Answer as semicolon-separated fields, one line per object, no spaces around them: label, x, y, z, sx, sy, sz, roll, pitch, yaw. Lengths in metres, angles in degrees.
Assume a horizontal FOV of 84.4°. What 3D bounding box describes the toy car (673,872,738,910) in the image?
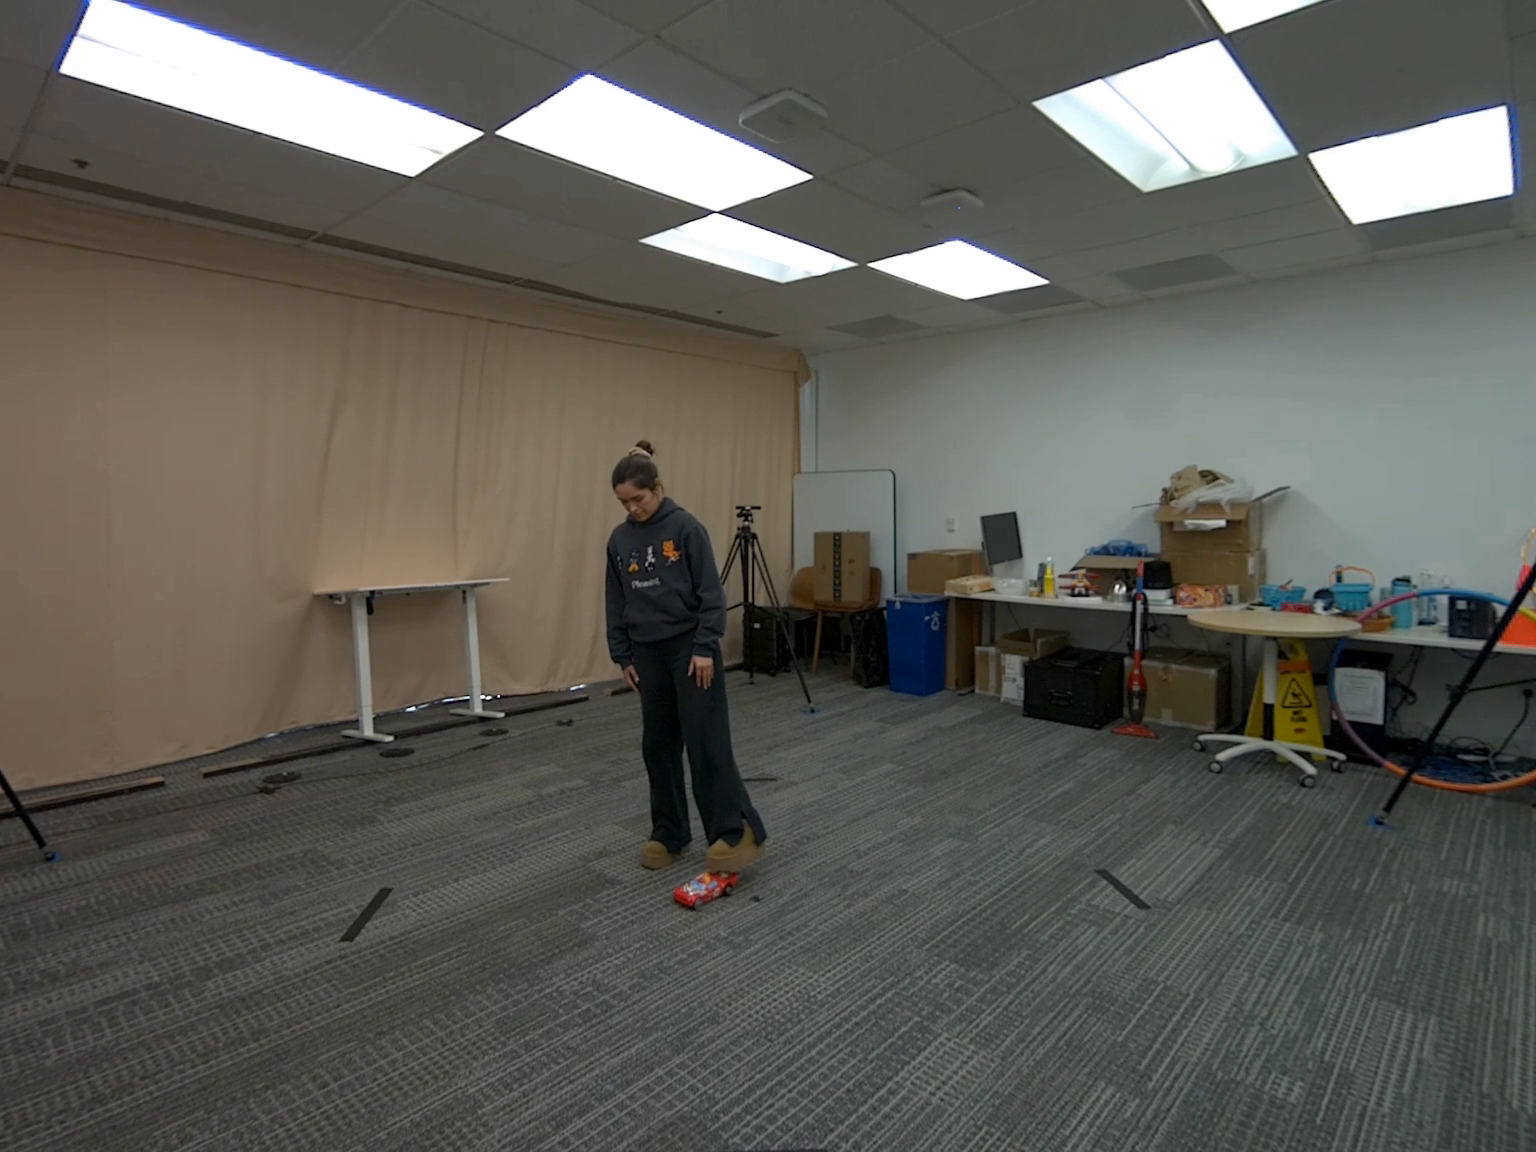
toy car;-0.194;1.113;3.006;0.134;0.082;0.248;2;16;44
